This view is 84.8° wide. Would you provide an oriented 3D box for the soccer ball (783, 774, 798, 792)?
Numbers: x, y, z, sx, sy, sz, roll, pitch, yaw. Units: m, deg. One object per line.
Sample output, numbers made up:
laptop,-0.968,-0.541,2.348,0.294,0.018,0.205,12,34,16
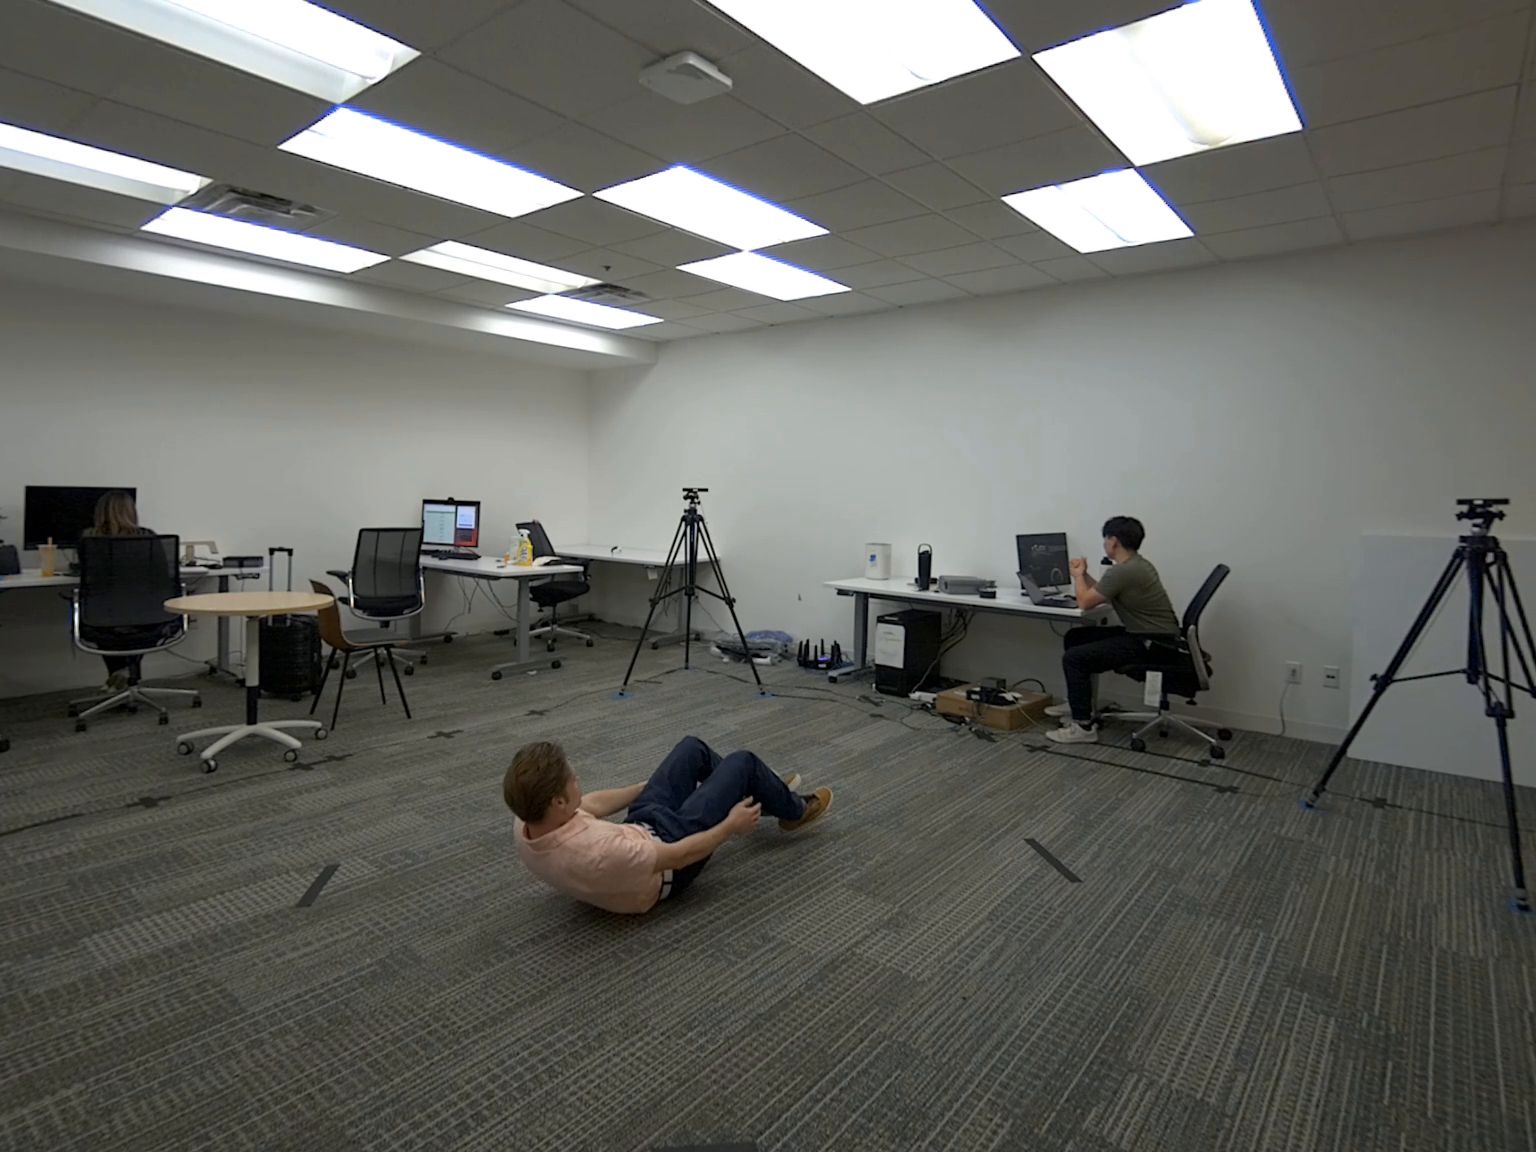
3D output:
soccer ball,-0.017,0.857,3.383,0.187,0.187,0.188,1,4,-2
